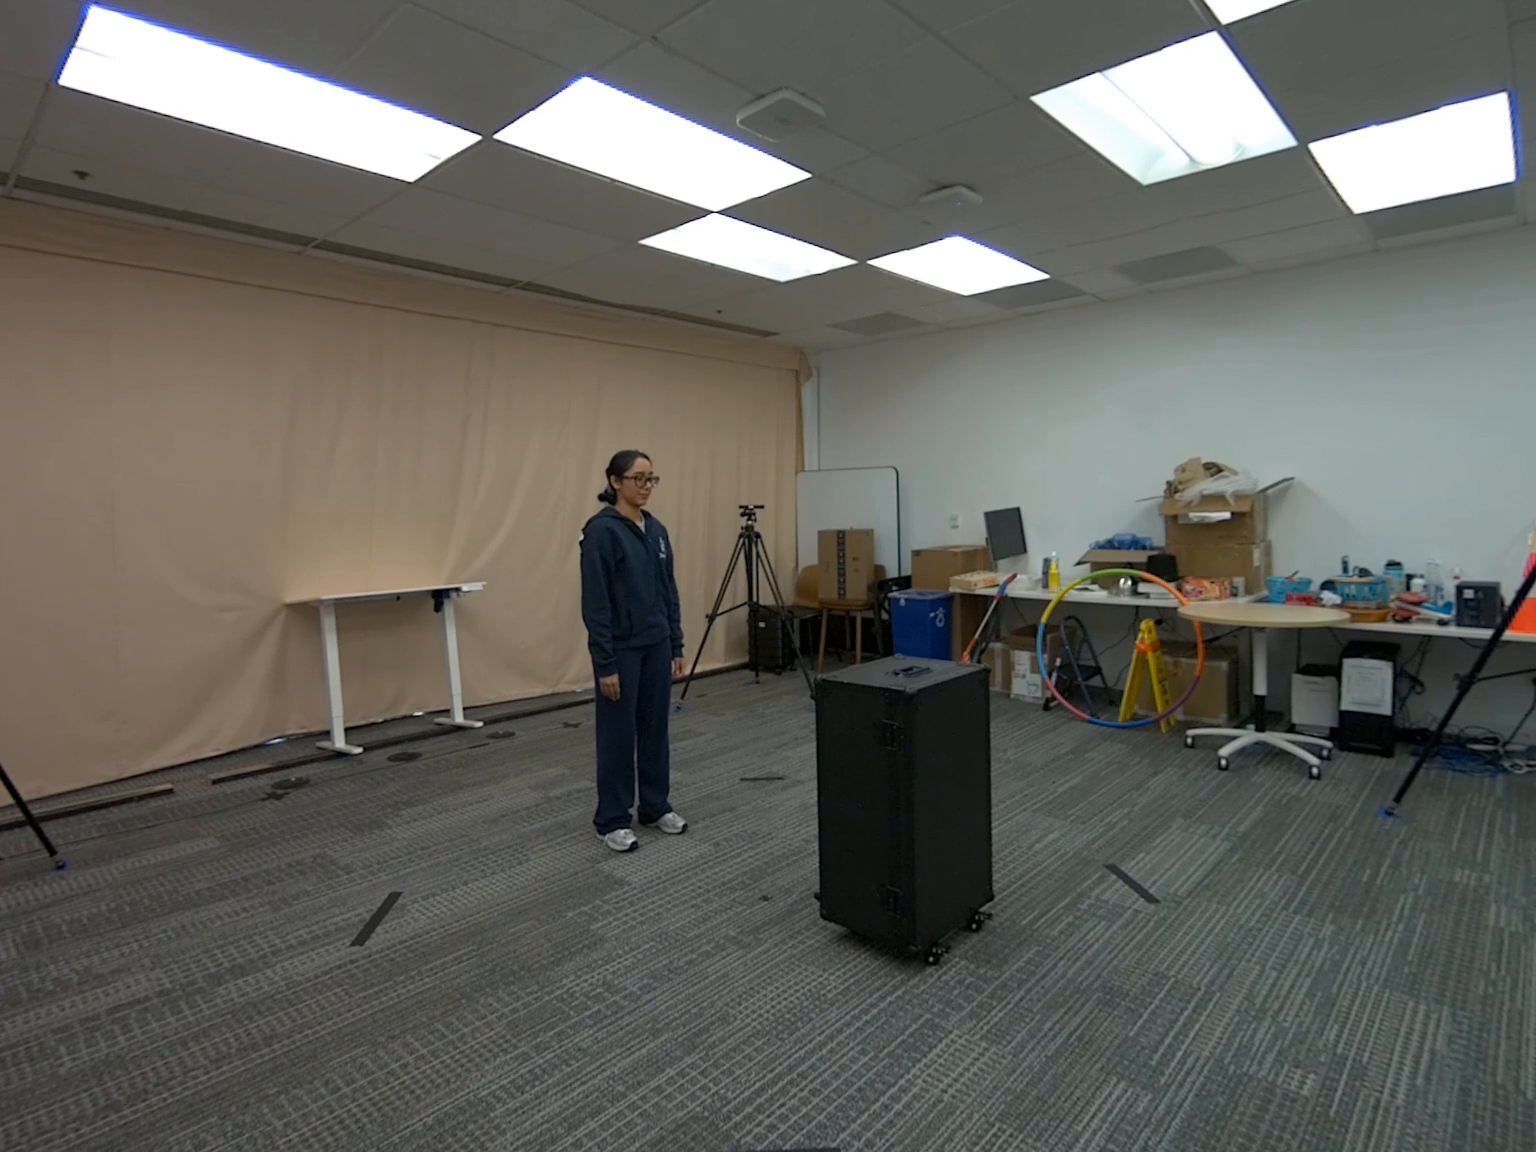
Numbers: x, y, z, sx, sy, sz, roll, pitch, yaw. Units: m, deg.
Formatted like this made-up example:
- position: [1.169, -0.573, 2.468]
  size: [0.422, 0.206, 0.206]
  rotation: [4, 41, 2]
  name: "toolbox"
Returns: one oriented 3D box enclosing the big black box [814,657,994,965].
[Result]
- position: [0.443, 0.735, 2.724]
  size: [0.409, 0.860, 0.505]
  rotation: [-1, 3, 43]
  name: "big black box"
